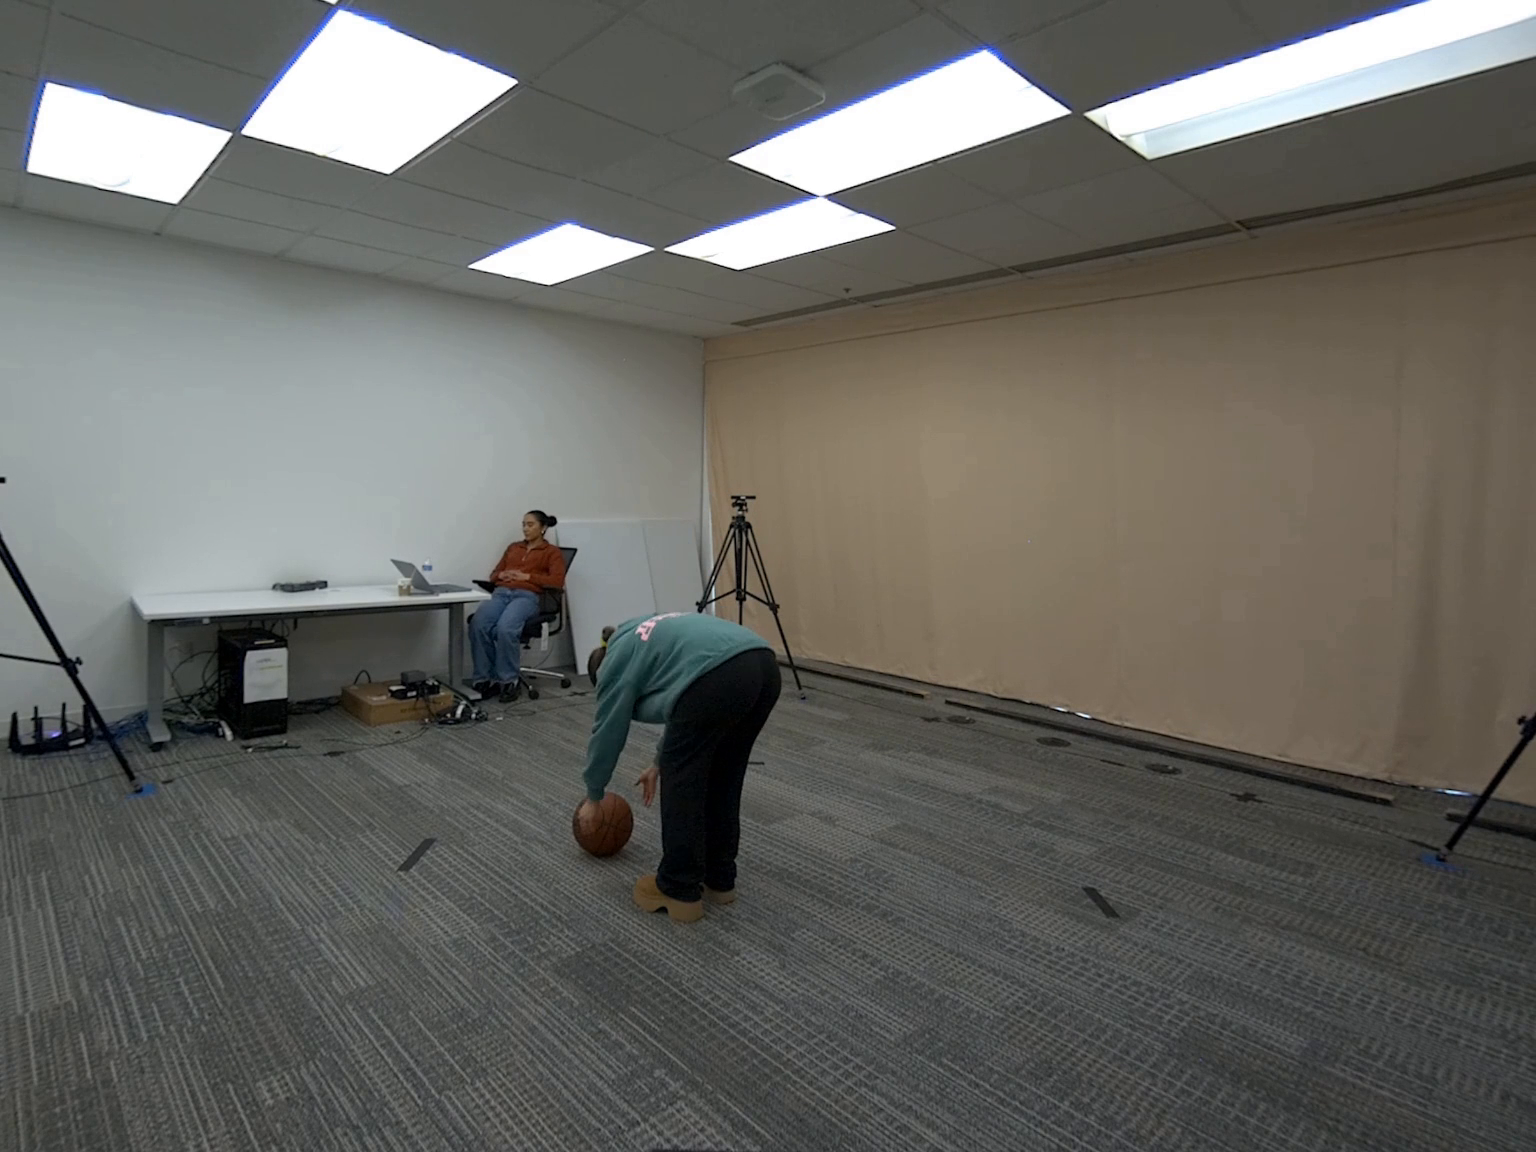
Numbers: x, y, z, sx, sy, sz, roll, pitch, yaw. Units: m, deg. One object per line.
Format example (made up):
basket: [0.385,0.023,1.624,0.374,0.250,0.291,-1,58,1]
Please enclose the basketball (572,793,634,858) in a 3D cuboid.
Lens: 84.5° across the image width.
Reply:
basketball: [-0.644,0.953,3.261,0.236,0.235,0.237,1,4,-1]
